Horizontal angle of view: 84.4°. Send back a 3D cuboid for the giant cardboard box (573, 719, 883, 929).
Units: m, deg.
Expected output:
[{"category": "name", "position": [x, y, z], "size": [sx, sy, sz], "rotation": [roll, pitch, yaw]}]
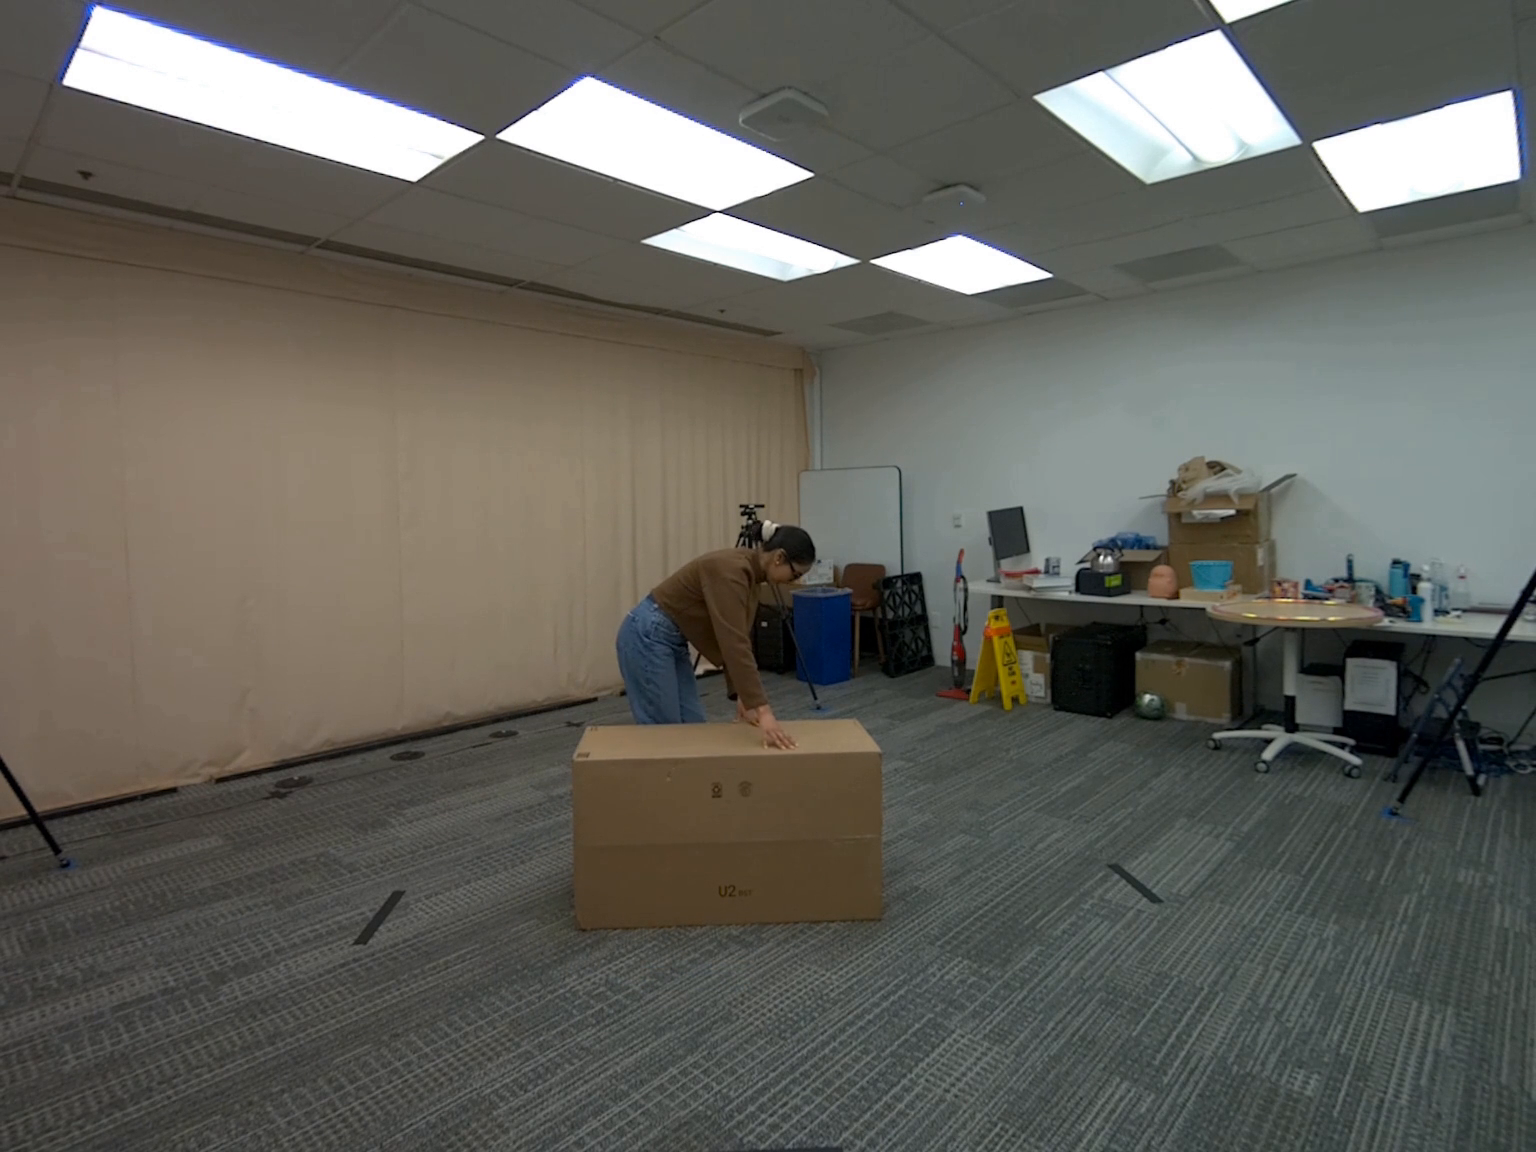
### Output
[{"category": "giant cardboard box", "position": [-0.149, 0.856, 2.984], "size": [1.025, 0.582, 0.449], "rotation": [-1, 5, -2]}]
